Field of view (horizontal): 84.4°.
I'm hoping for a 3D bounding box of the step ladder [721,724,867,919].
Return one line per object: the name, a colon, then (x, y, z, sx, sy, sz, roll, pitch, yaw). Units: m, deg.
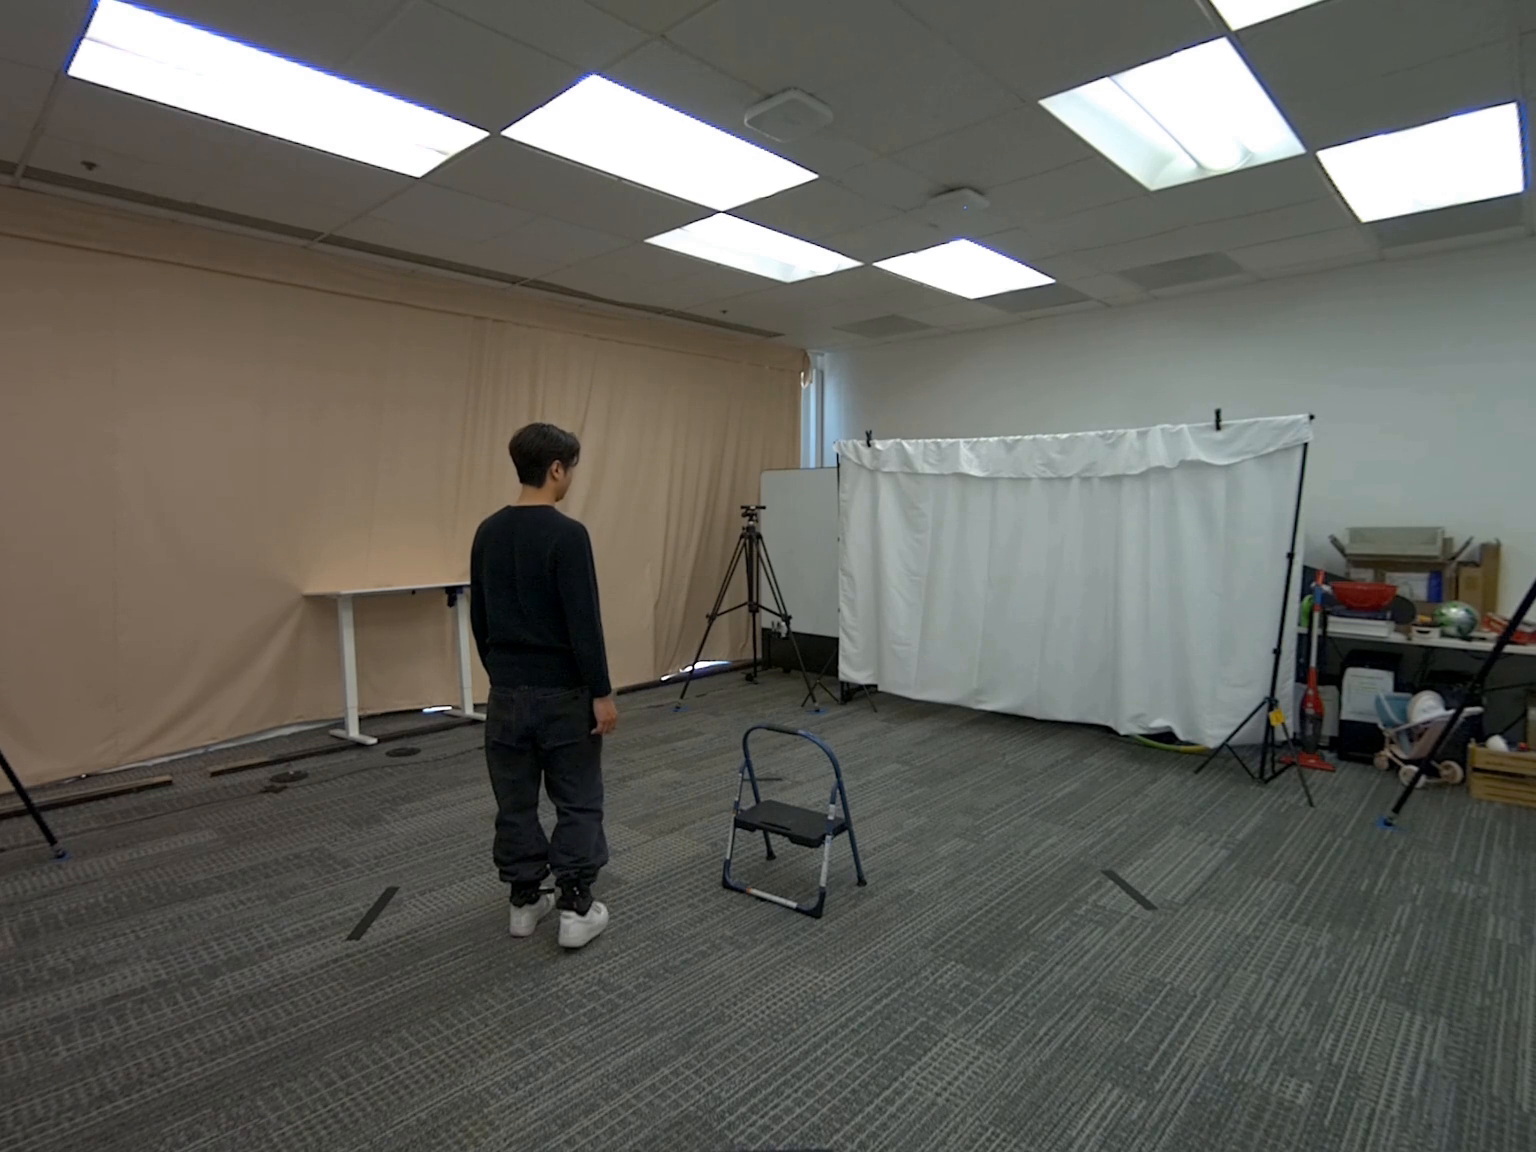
step ladder: (0.096, 0.832, 3.074, 0.444, 0.605, 0.339, 2, 3, 34)
